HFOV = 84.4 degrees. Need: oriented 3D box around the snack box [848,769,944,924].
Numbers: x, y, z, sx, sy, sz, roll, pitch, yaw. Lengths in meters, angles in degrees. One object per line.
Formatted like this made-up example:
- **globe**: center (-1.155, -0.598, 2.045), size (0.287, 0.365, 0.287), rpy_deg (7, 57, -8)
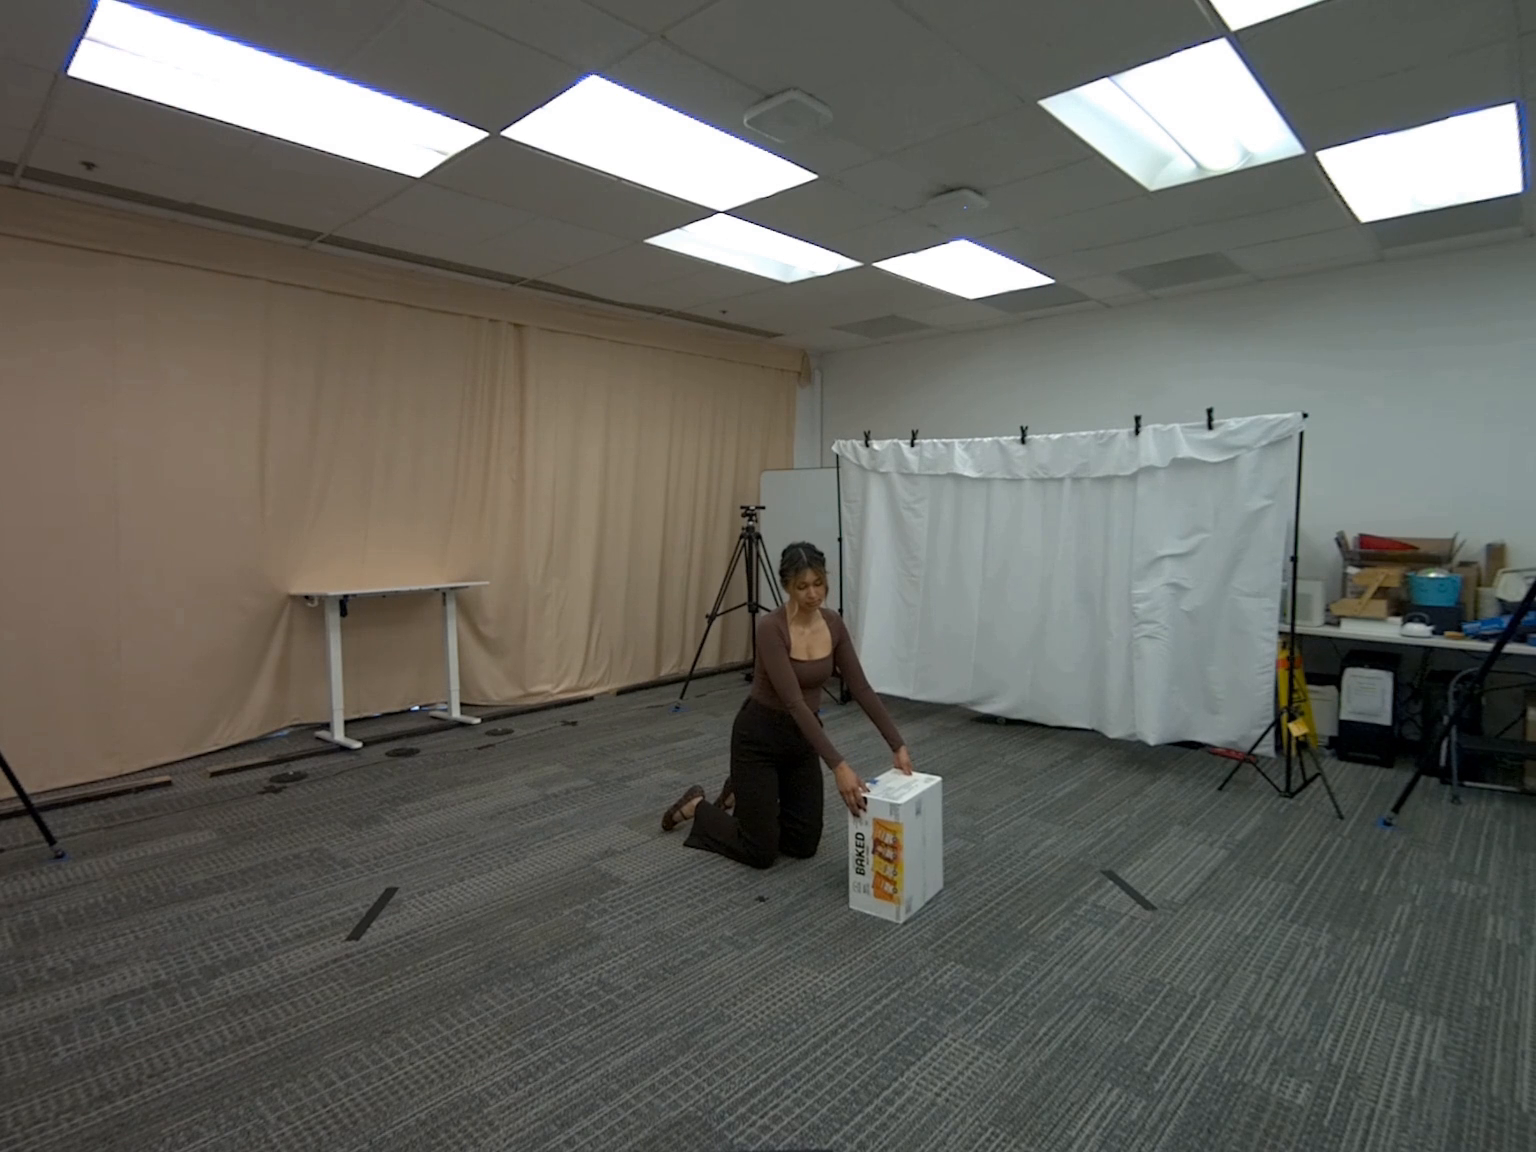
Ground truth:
- **snack box**: center (0.460, 0.938, 2.983), size (0.212, 0.404, 0.330), rpy_deg (1, 3, 36)
